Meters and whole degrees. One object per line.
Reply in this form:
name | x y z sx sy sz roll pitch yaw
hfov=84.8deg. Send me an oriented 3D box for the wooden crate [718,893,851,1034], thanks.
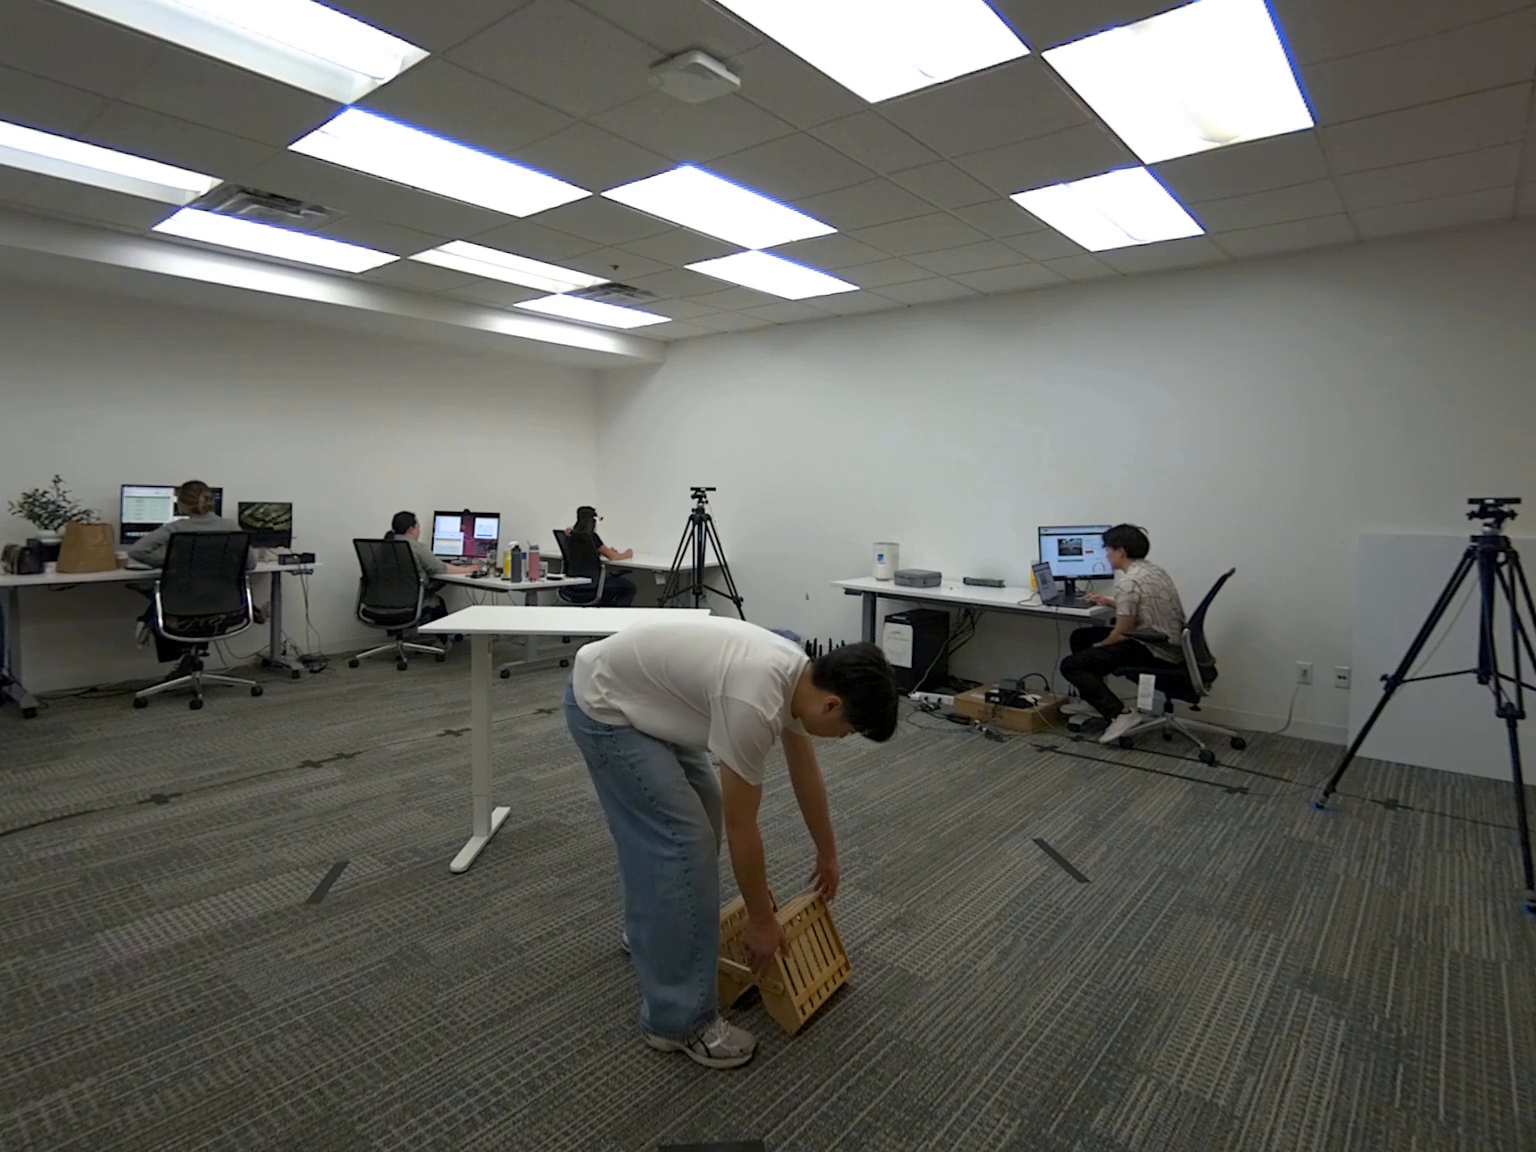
wooden crate | 0.006 1.056 2.367 0.277 0.307 0.315 -28 -13 31
